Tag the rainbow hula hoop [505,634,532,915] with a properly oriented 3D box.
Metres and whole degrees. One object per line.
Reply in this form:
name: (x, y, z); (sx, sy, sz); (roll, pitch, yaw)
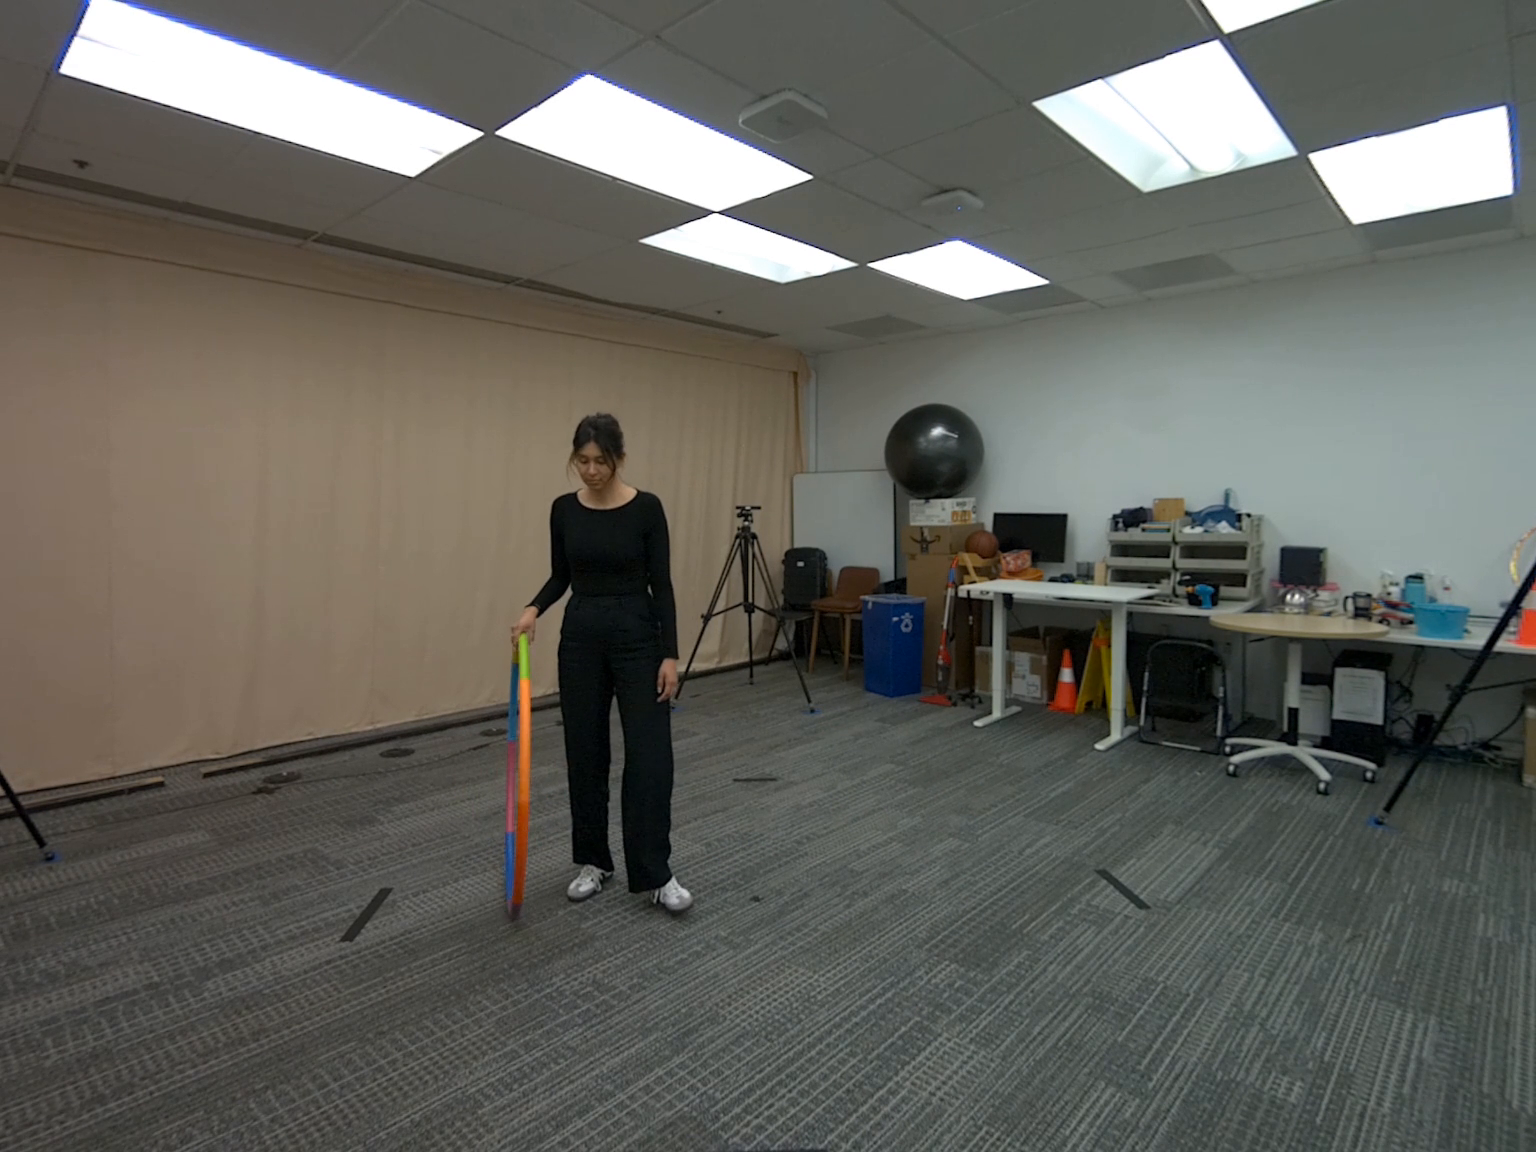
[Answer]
rainbow hula hoop: (-0.870, 0.667, 2.960); (0.035, 0.977, 0.997); (2, 3, -18)
